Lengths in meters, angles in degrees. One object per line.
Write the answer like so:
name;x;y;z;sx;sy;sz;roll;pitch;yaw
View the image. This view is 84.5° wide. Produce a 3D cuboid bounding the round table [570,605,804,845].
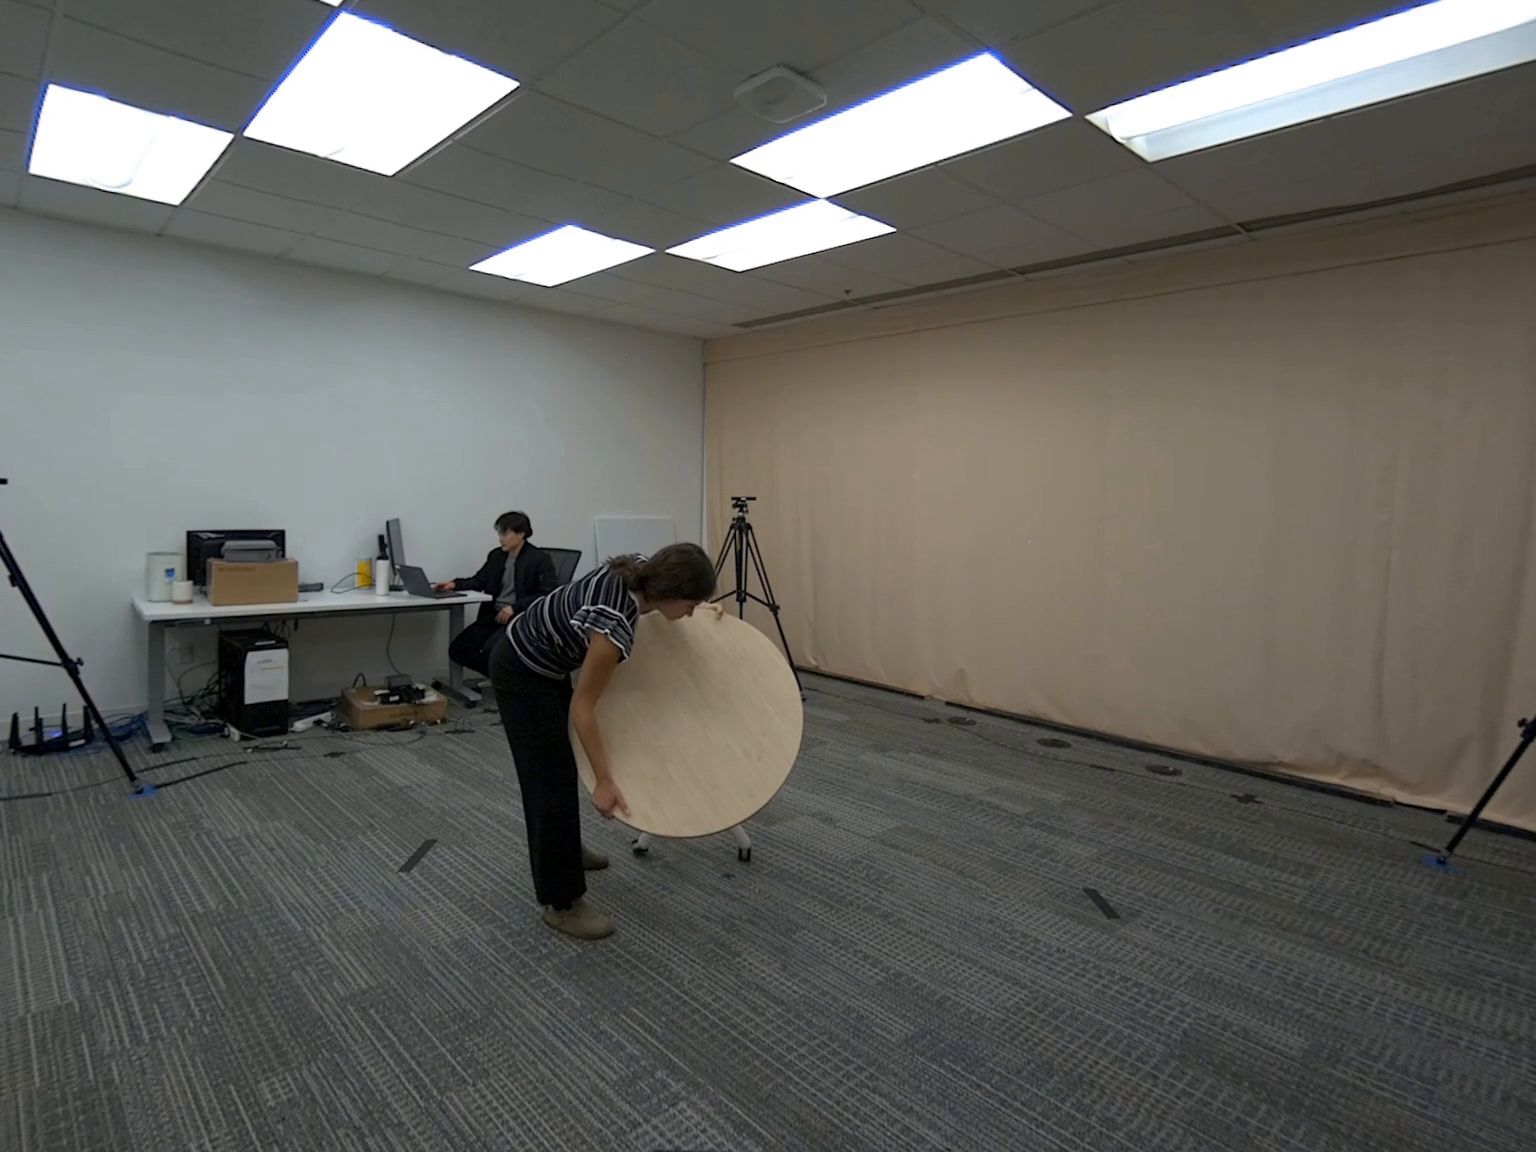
round table;-0.291;0.633;3.088;0.785;0.800;0.771;1;-30;0
